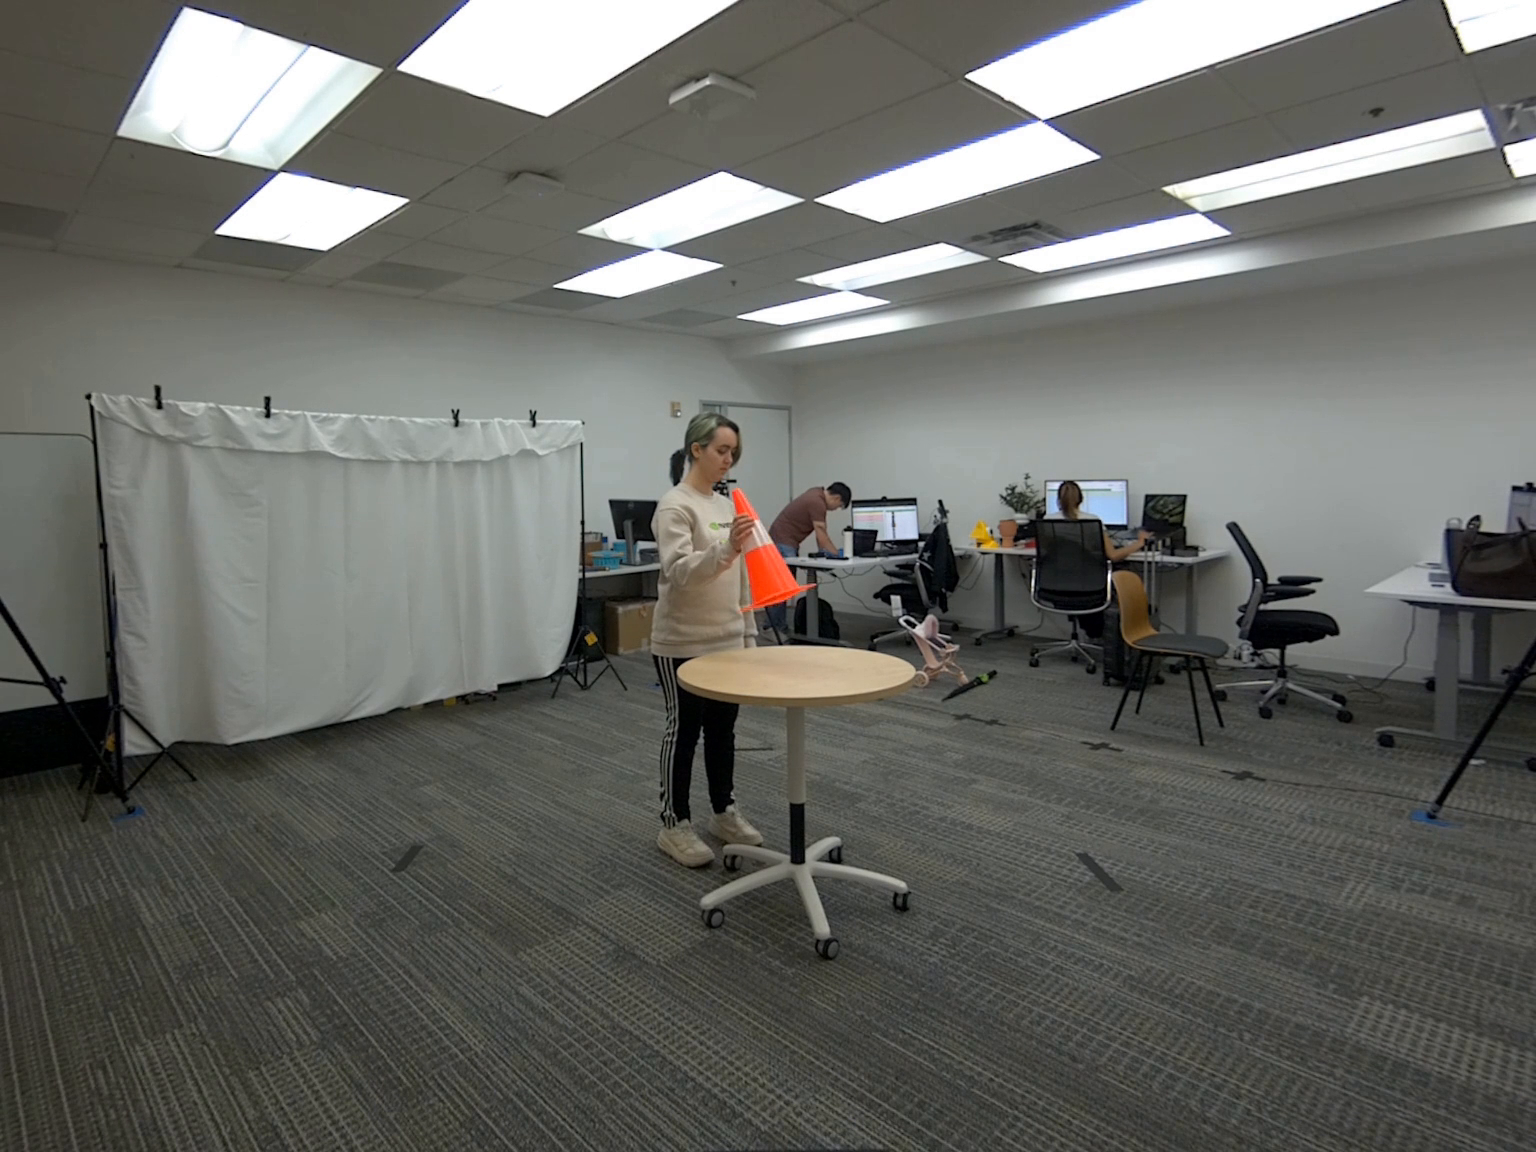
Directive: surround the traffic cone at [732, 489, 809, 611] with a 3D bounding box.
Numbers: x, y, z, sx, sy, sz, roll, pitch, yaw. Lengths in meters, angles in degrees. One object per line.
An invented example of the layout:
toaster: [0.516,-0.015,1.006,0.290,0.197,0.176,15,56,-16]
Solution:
traffic cone: [-0.037,-0.100,2.769,0.206,0.389,0.200,-28,-14,40]
